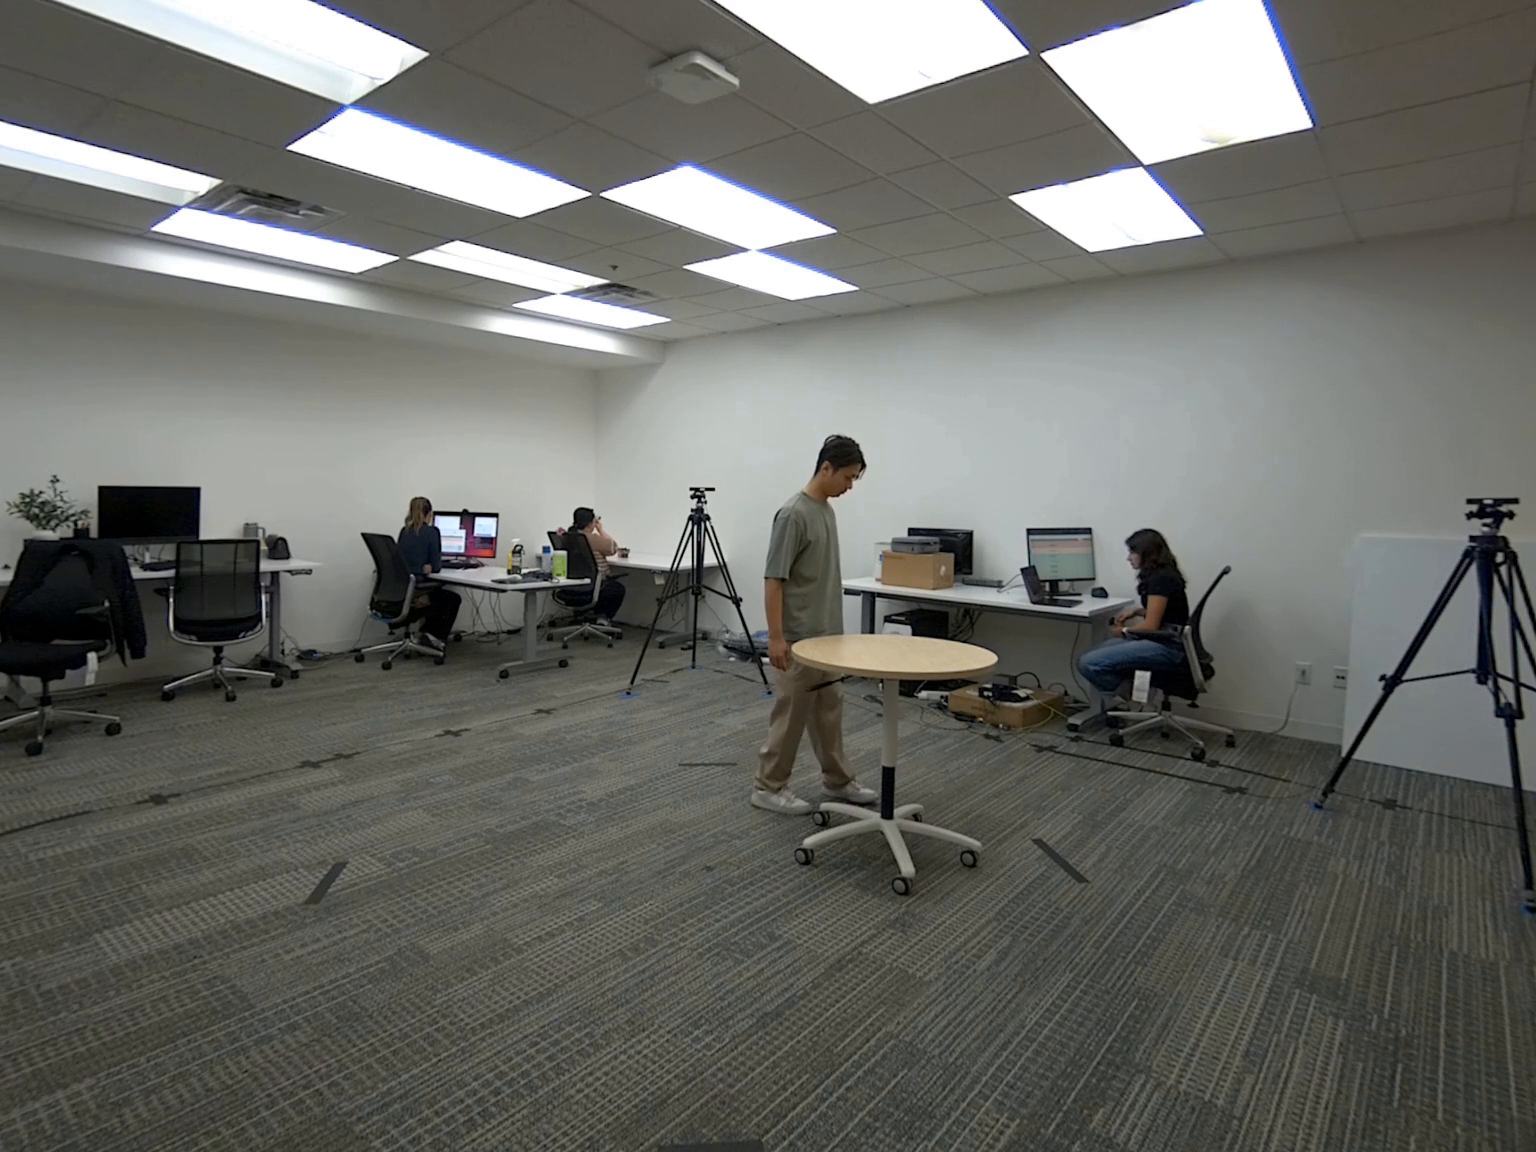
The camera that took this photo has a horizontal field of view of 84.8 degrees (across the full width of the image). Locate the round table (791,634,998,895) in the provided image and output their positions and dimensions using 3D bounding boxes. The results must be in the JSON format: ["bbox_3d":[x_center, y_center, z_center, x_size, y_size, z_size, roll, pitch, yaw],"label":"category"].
[{"bbox_3d":[0.434,0.671,3.257,0.784,0.784,0.789,2,4,-2],"label":"round table"}]
